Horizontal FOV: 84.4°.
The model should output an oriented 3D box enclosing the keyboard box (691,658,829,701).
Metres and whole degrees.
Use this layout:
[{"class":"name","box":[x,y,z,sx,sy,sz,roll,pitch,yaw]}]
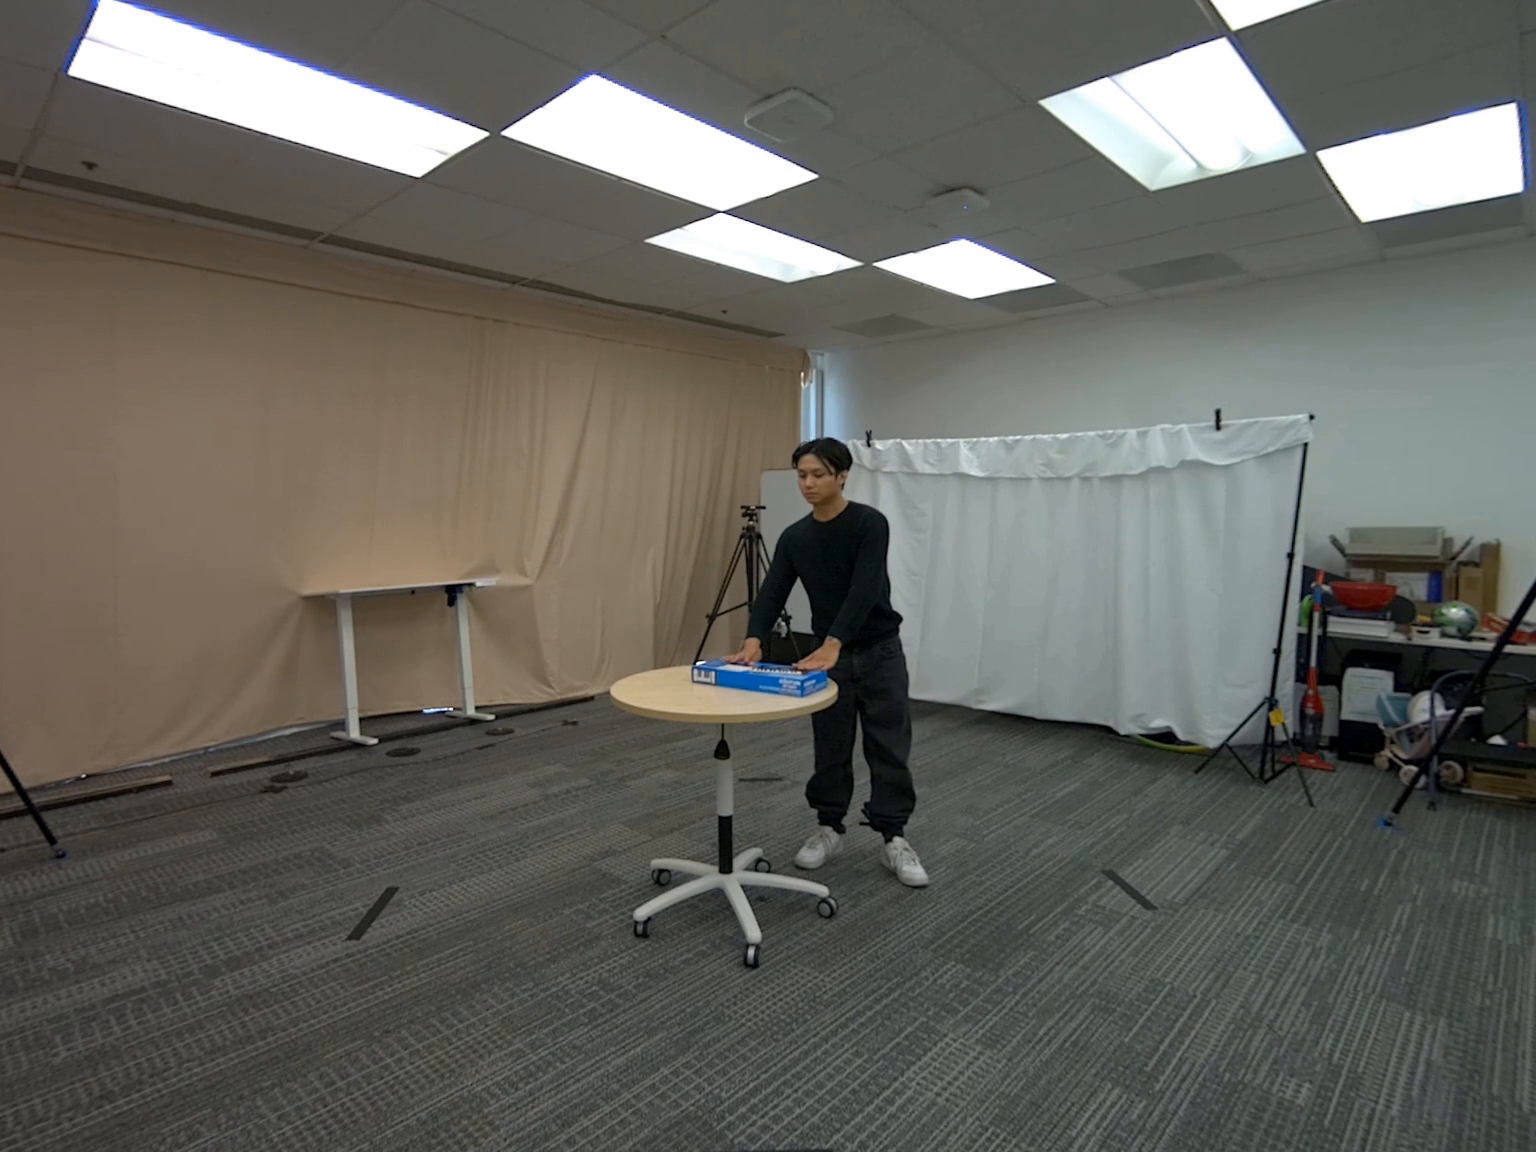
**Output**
[{"class":"keyboard box","box":[-0.033,0.343,2.850,0.450,0.059,0.171,3,7,35]}]
